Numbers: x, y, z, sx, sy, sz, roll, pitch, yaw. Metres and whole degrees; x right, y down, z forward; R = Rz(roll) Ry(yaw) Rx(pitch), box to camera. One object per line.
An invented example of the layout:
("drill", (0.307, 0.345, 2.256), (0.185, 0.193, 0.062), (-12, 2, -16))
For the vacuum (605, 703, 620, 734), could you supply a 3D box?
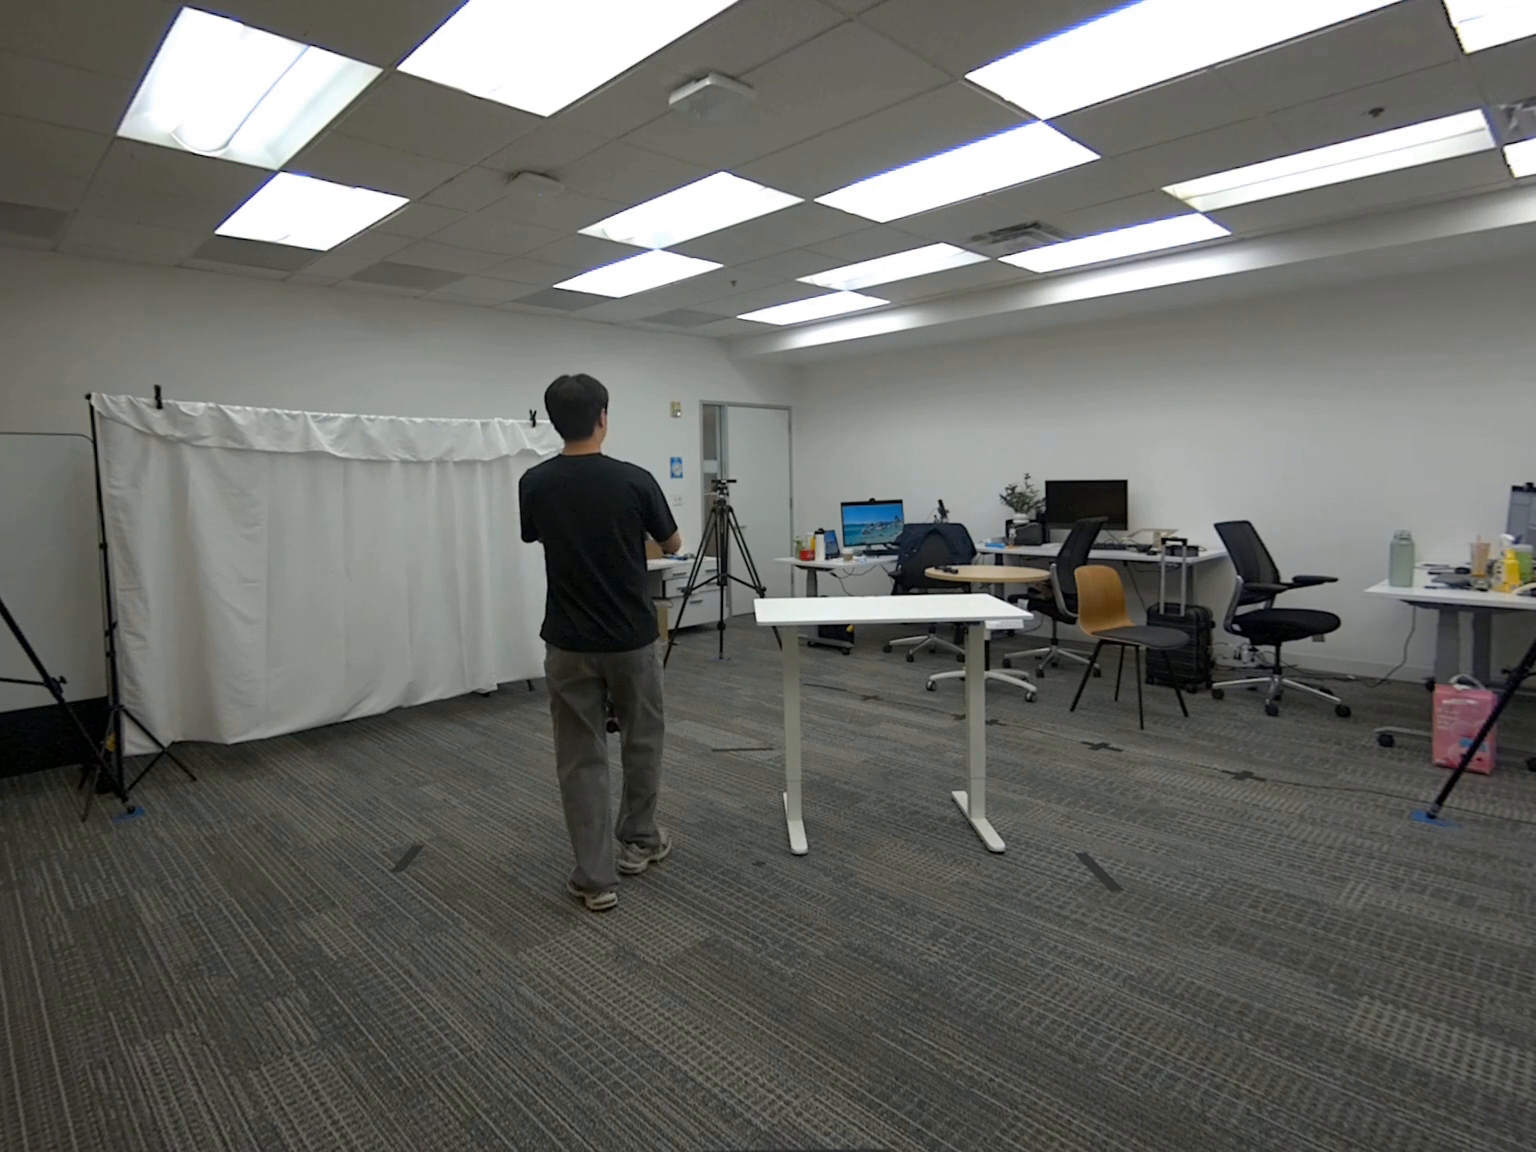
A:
("vacuum", (-0.590, 0.100, 3.312), (0.143, 1.043, 0.255), (-5, 6, -4))
